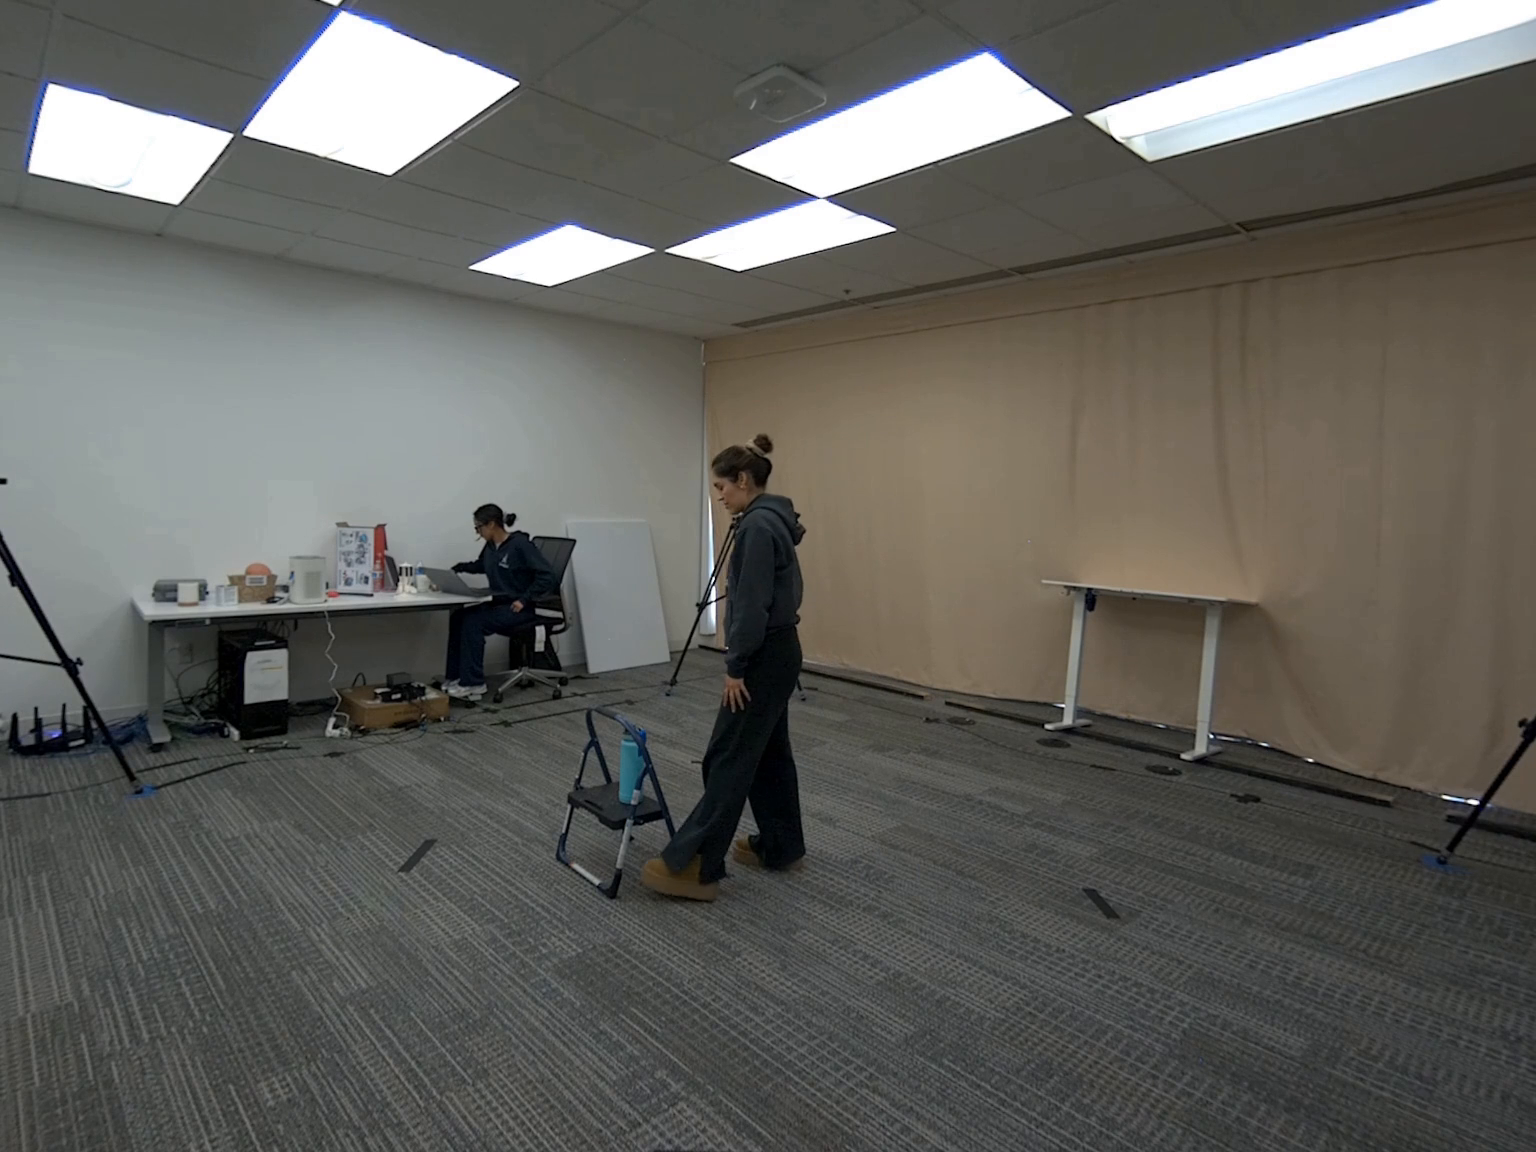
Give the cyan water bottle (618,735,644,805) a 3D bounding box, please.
[{"bbox_3d":[-0.505,0.697,3.132,0.092,0.283,0.092,3,1,-2],"label":"cyan water bottle"}]
